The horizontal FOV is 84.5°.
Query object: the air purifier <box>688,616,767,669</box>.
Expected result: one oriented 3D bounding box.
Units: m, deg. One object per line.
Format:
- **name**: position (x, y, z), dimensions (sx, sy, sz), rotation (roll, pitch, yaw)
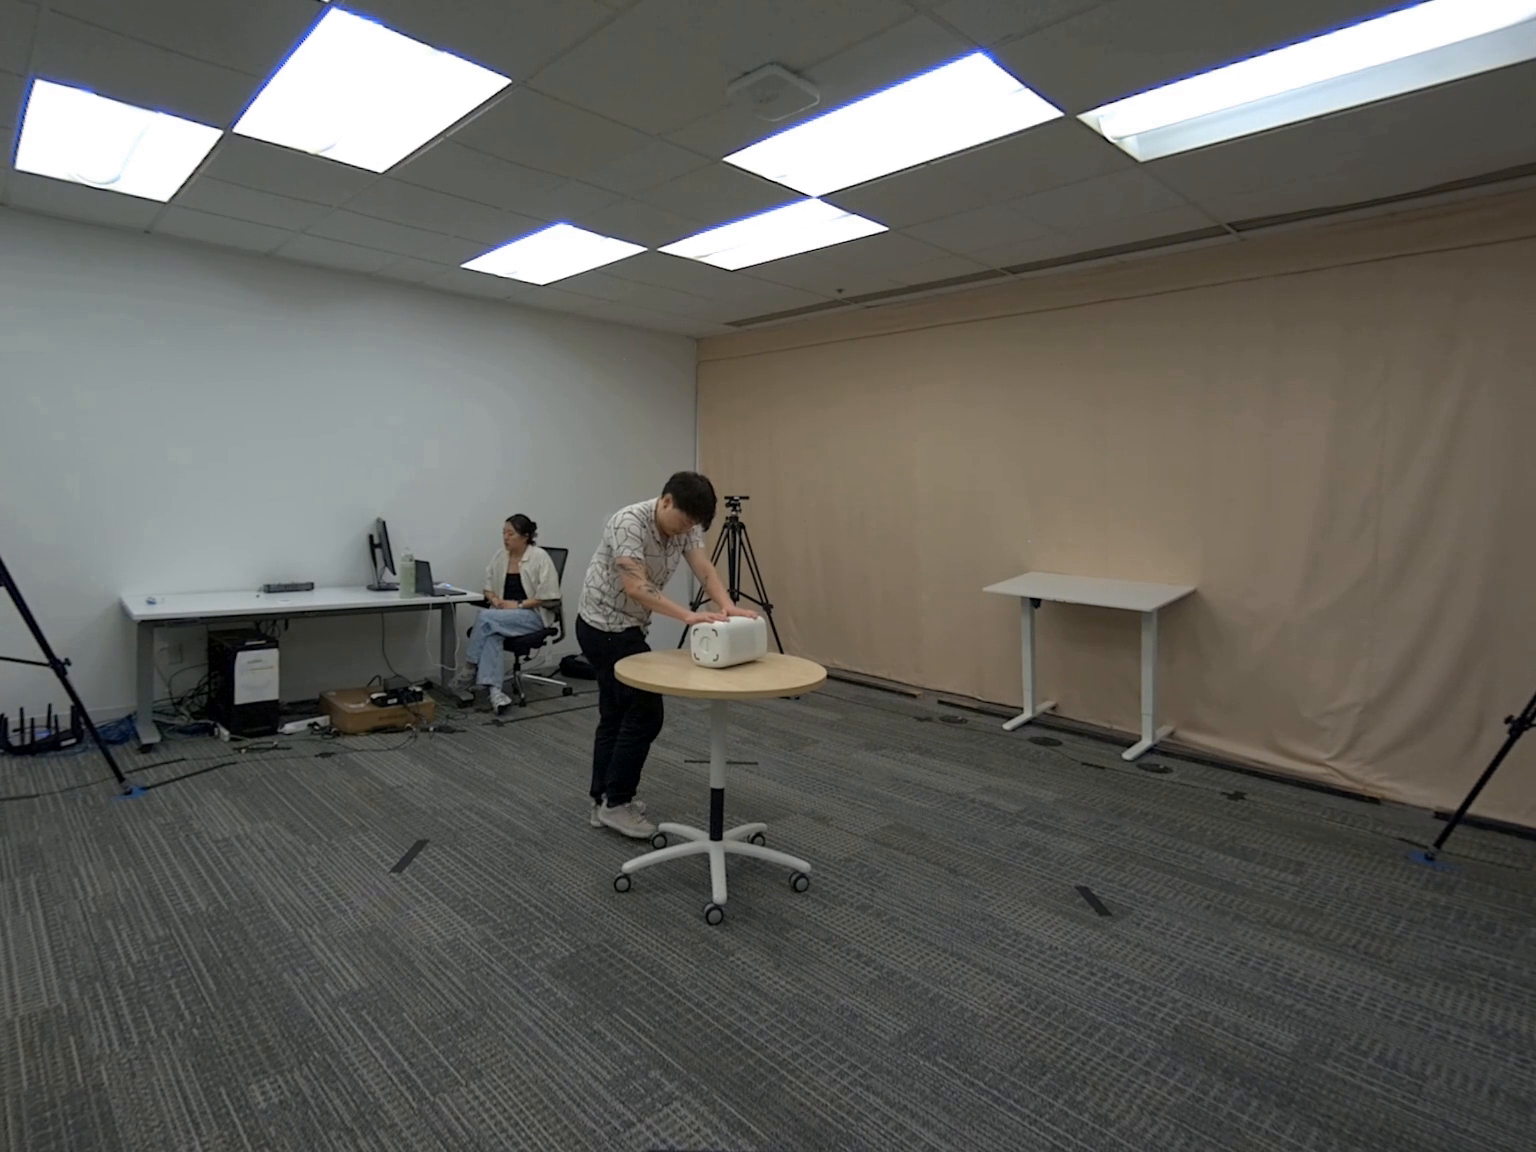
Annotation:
- **air purifier**: position (-0.153, 0.239, 3.111), dimensions (0.175, 0.171, 0.259), rotation (-1, 1, 37)
